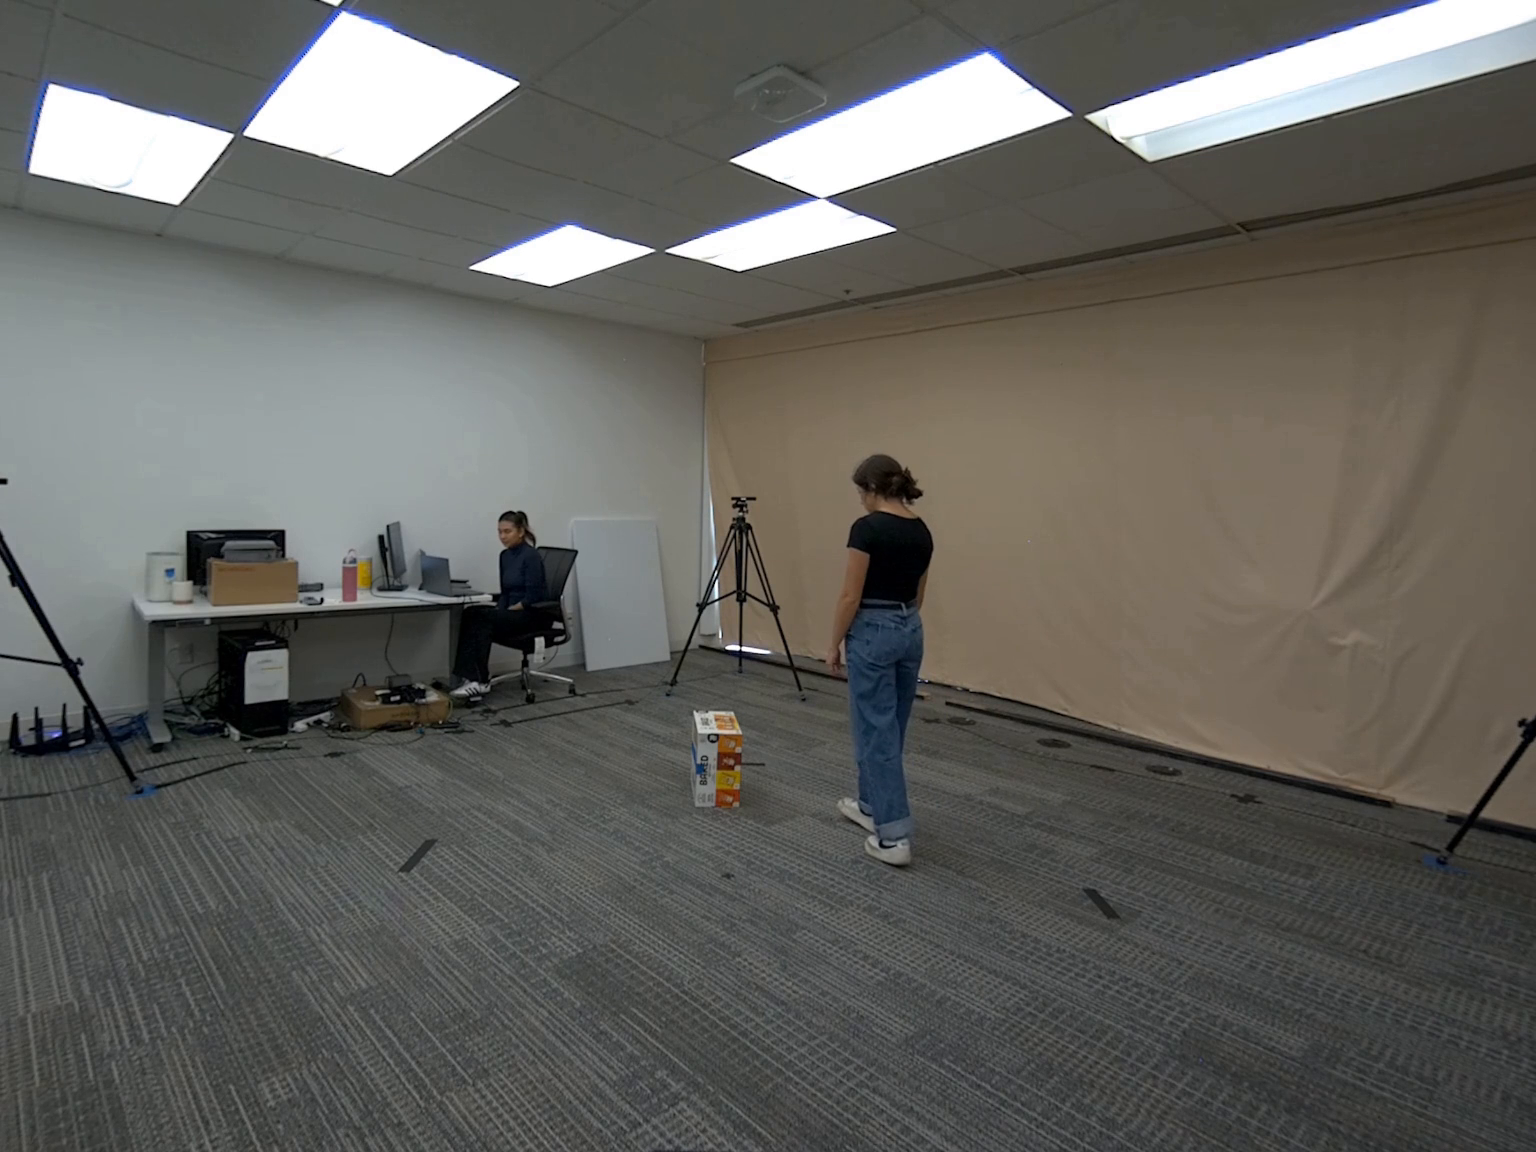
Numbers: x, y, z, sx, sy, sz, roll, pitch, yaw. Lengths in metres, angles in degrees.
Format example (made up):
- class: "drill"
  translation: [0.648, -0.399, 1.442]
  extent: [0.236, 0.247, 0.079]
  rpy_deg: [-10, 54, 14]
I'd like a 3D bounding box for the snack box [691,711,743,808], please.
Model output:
- class: "snack box"
  translation: [-0.260, 0.857, 3.997]
  extent: [0.204, 0.339, 0.408]
  rpy_deg: [4, 4, -7]
